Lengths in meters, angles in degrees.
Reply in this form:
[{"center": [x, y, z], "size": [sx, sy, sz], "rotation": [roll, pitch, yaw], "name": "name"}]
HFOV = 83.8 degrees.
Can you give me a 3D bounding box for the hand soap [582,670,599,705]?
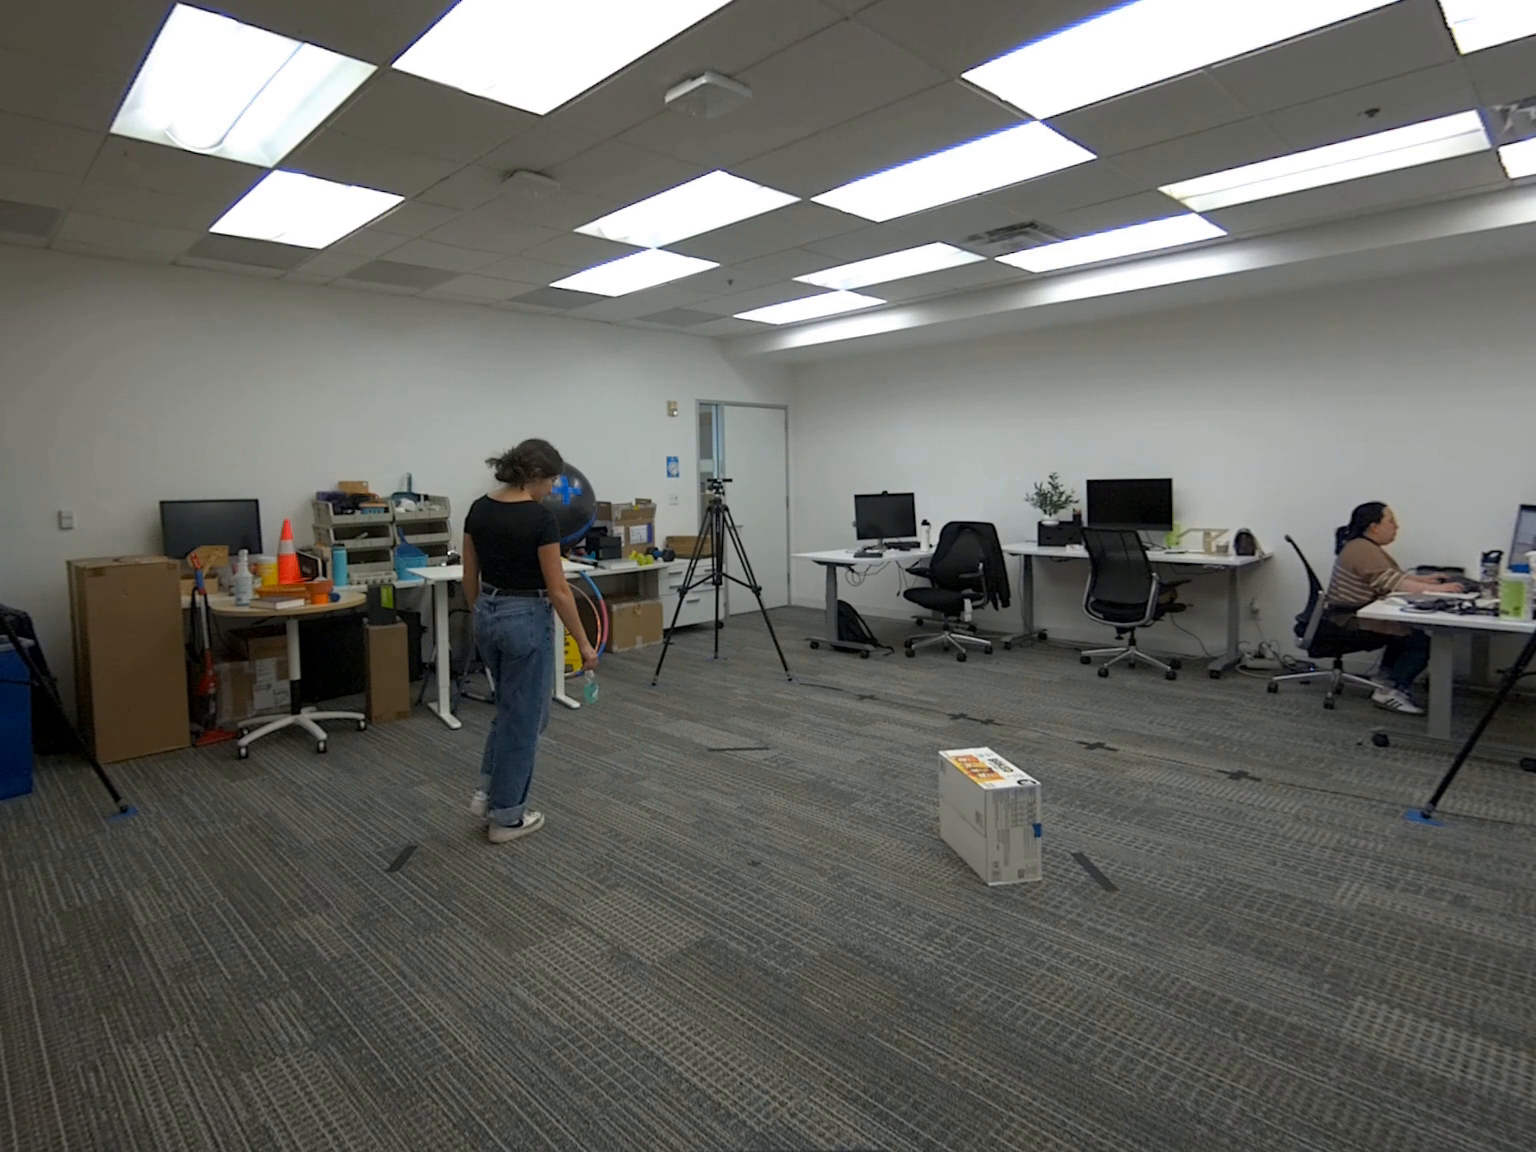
[{"center": [-0.708, 0.417, 3.400], "size": [0.043, 0.167, 0.085], "rotation": [-2, 9, 0], "name": "hand soap"}]
